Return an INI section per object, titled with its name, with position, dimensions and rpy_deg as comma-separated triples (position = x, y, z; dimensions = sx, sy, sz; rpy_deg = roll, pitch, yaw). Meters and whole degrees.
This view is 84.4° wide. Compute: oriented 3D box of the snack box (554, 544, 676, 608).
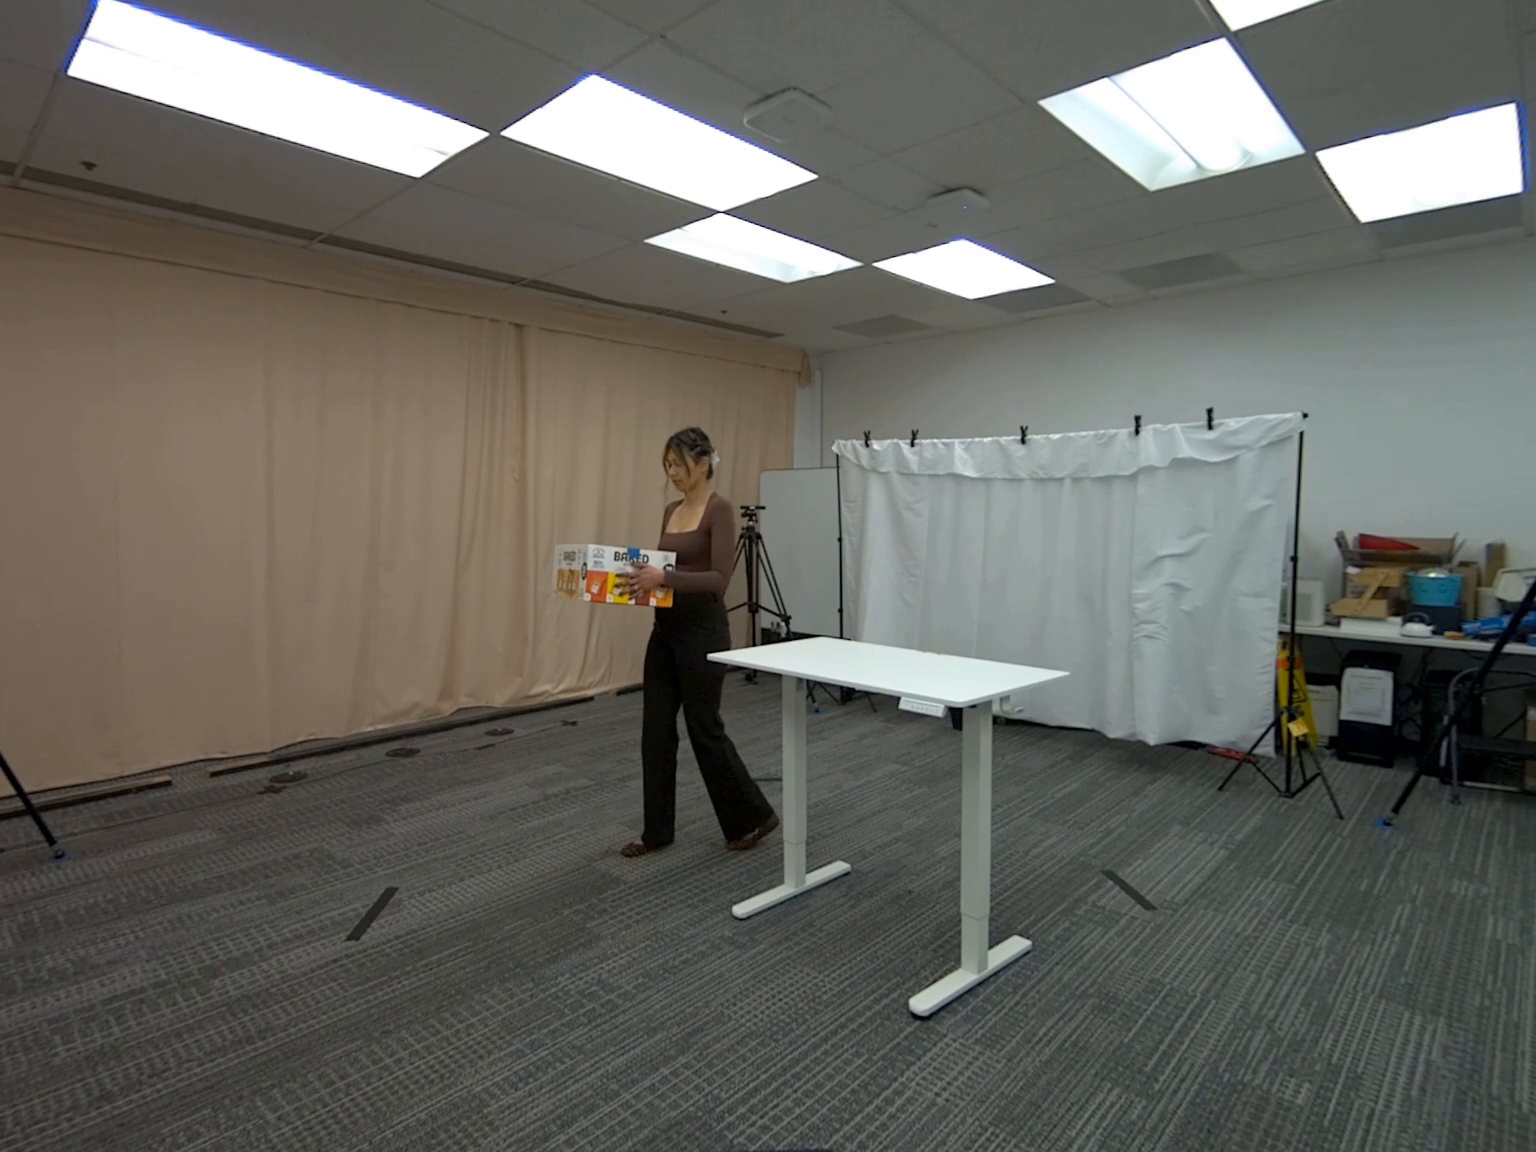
[snack box]
position = -0.594, -0.002, 3.201
dimensions = 0.331, 0.206, 0.416
rpy_deg = 6, -2, -28
